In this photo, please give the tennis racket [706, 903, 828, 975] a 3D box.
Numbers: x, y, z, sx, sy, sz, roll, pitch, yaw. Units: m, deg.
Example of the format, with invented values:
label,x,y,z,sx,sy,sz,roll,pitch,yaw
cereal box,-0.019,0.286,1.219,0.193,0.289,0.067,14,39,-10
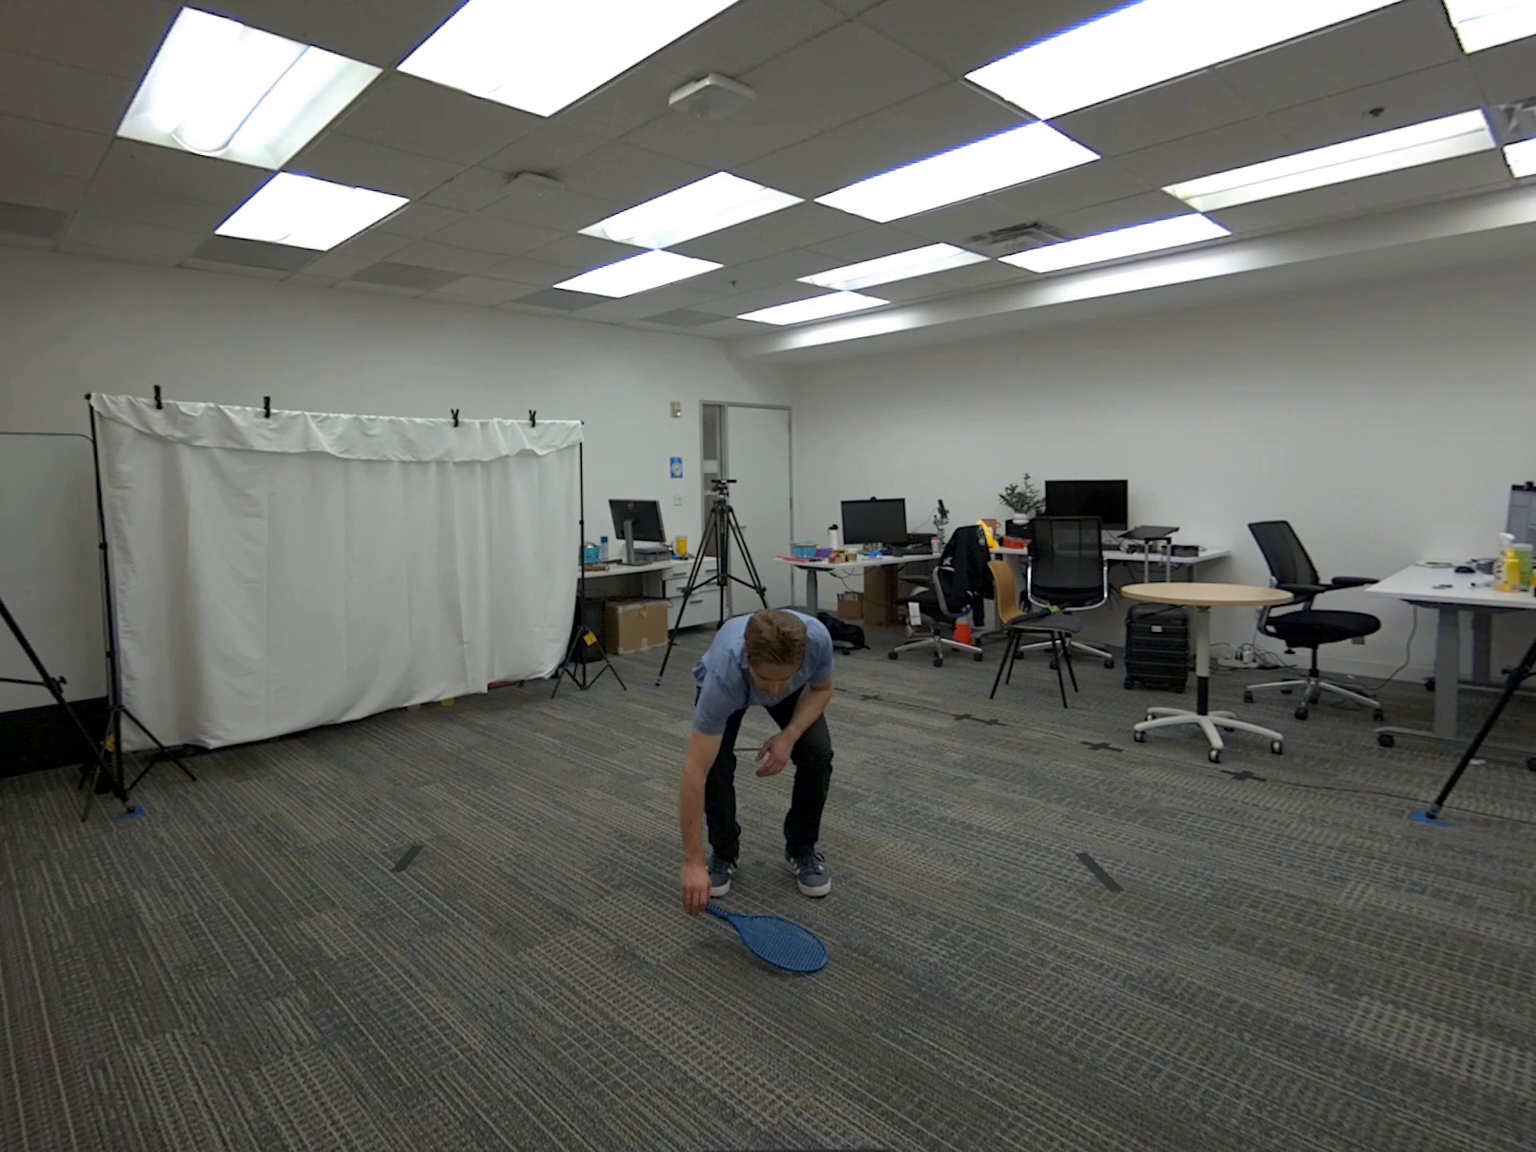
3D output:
label,x,y,z,sx,sy,sz,roll,pitch,yaw
tennis racket,-0.024,1.051,2.537,0.444,0.031,0.210,17,14,22
